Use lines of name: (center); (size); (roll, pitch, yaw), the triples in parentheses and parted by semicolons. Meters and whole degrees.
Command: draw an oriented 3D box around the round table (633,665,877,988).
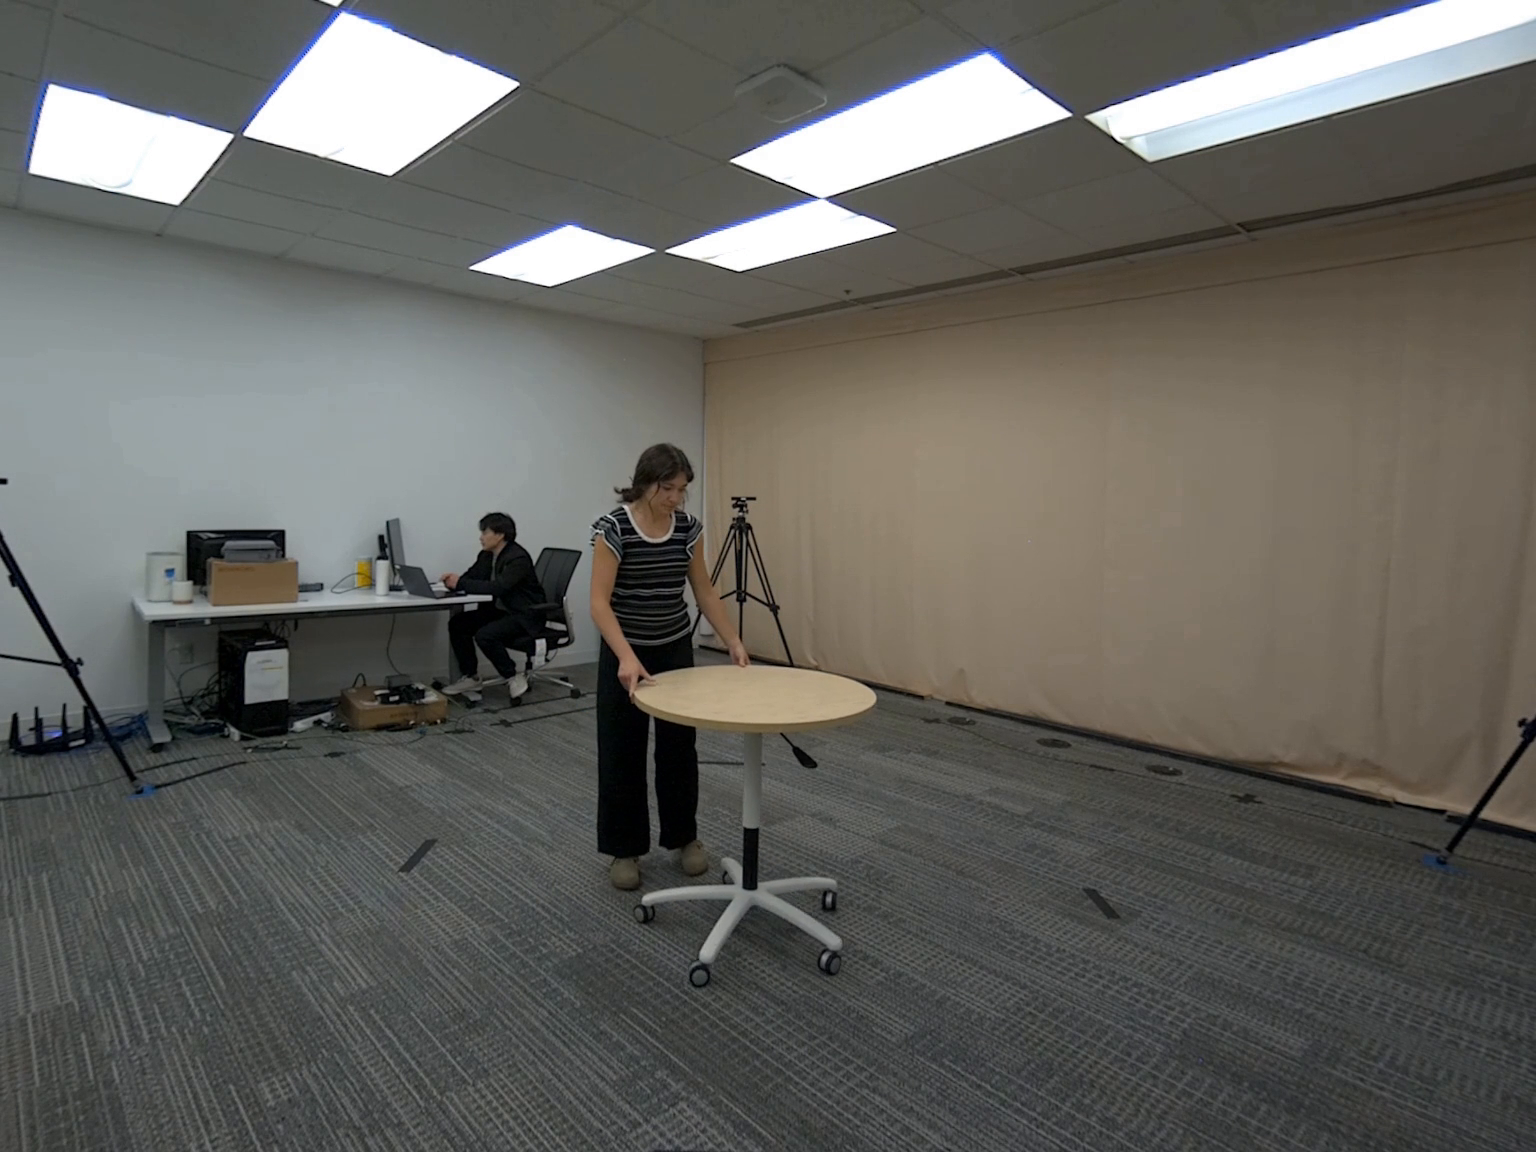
round table: (-0.049, 0.753, 2.680); (0.784, 0.784, 0.788); (1, 5, -1)
